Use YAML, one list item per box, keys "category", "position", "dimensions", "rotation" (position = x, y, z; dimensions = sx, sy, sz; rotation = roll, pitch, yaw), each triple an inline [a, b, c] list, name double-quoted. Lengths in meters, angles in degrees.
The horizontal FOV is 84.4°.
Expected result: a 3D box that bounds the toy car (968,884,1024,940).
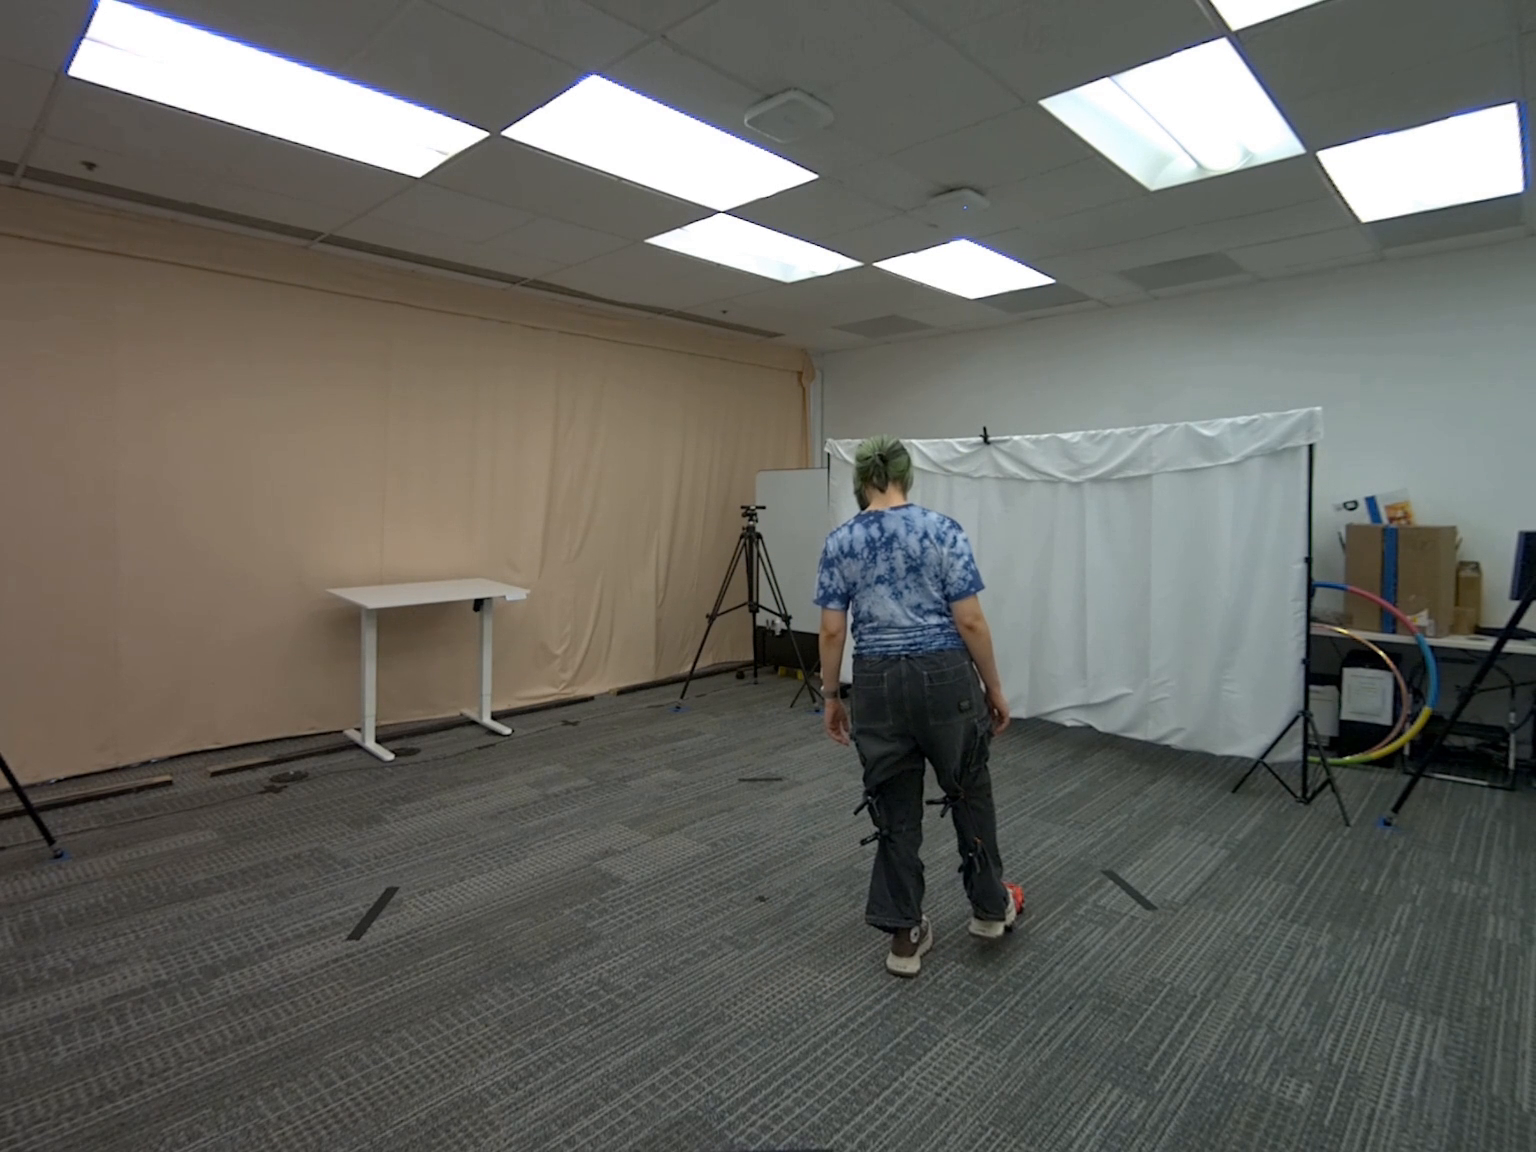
- category: "toy car"
  position: [0.807, 1.122, 2.861]
  dimensions: [0.134, 0.082, 0.250]
  rotation: [3, 19, 30]
